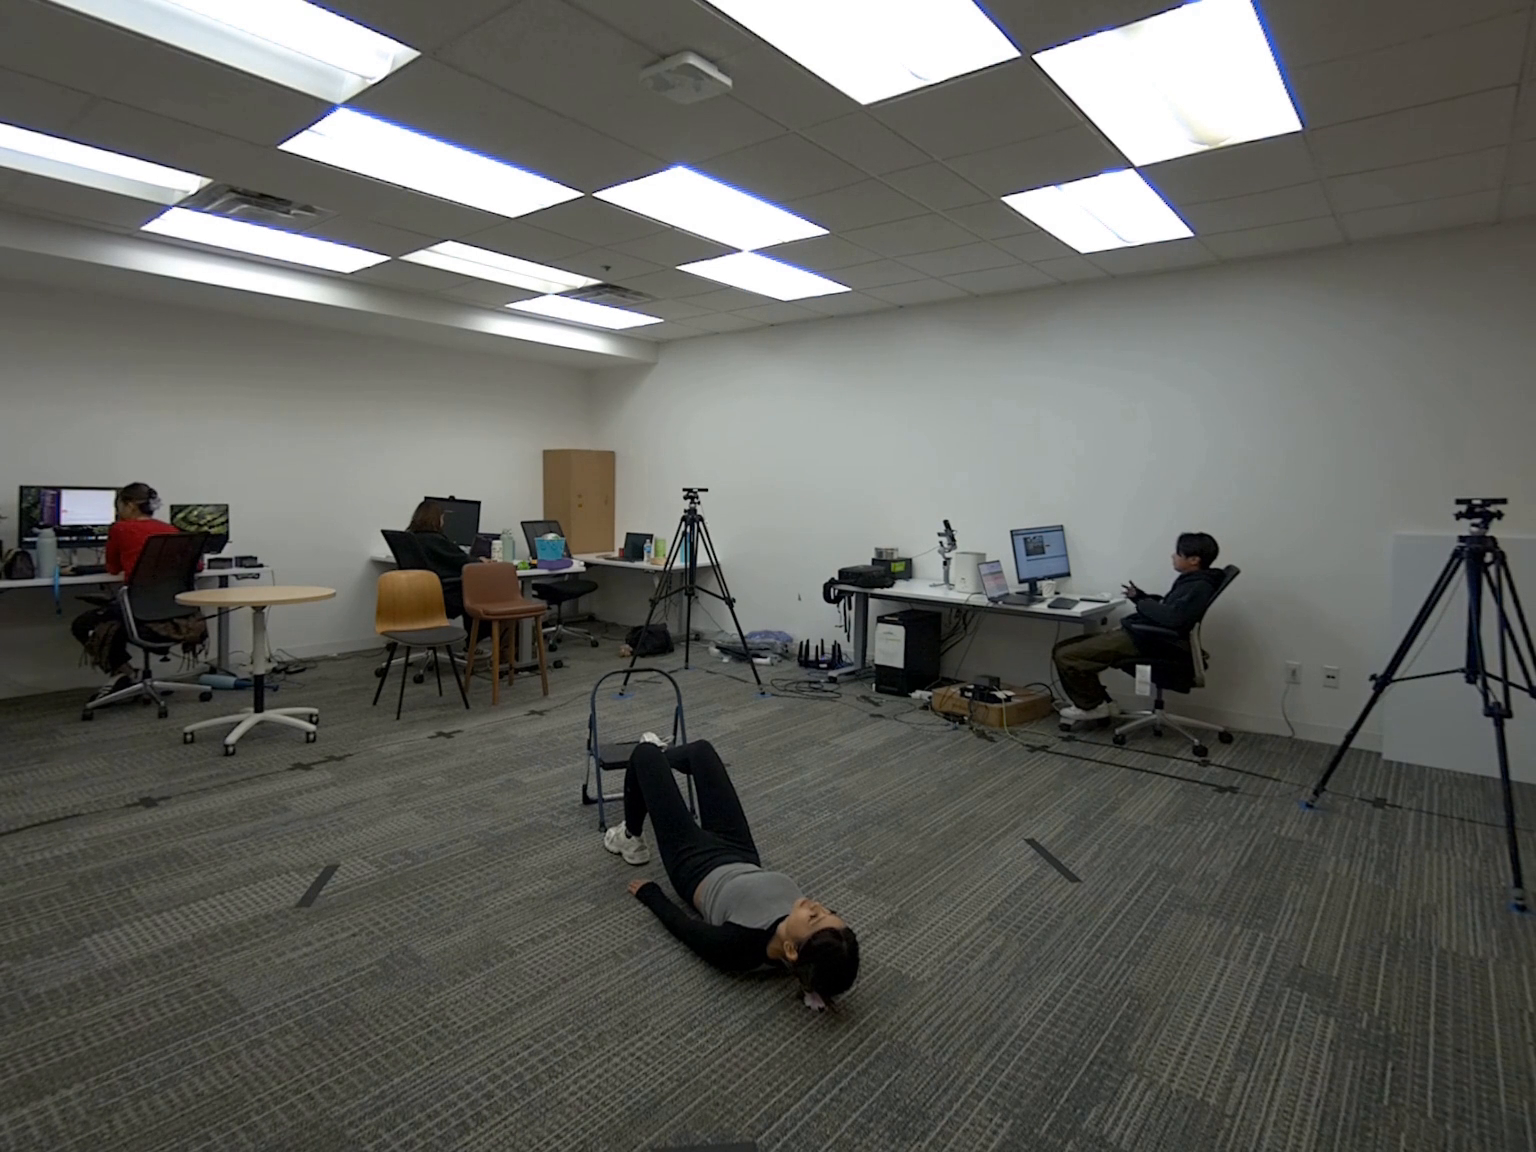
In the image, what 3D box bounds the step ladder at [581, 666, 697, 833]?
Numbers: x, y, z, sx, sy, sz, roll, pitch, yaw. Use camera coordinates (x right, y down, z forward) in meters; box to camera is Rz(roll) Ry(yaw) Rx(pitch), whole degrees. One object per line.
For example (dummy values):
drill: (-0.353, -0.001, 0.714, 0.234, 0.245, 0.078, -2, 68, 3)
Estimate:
step ladder: (-0.572, 0.711, 3.655, 0.420, 0.604, 0.359, -1, 4, -25)
